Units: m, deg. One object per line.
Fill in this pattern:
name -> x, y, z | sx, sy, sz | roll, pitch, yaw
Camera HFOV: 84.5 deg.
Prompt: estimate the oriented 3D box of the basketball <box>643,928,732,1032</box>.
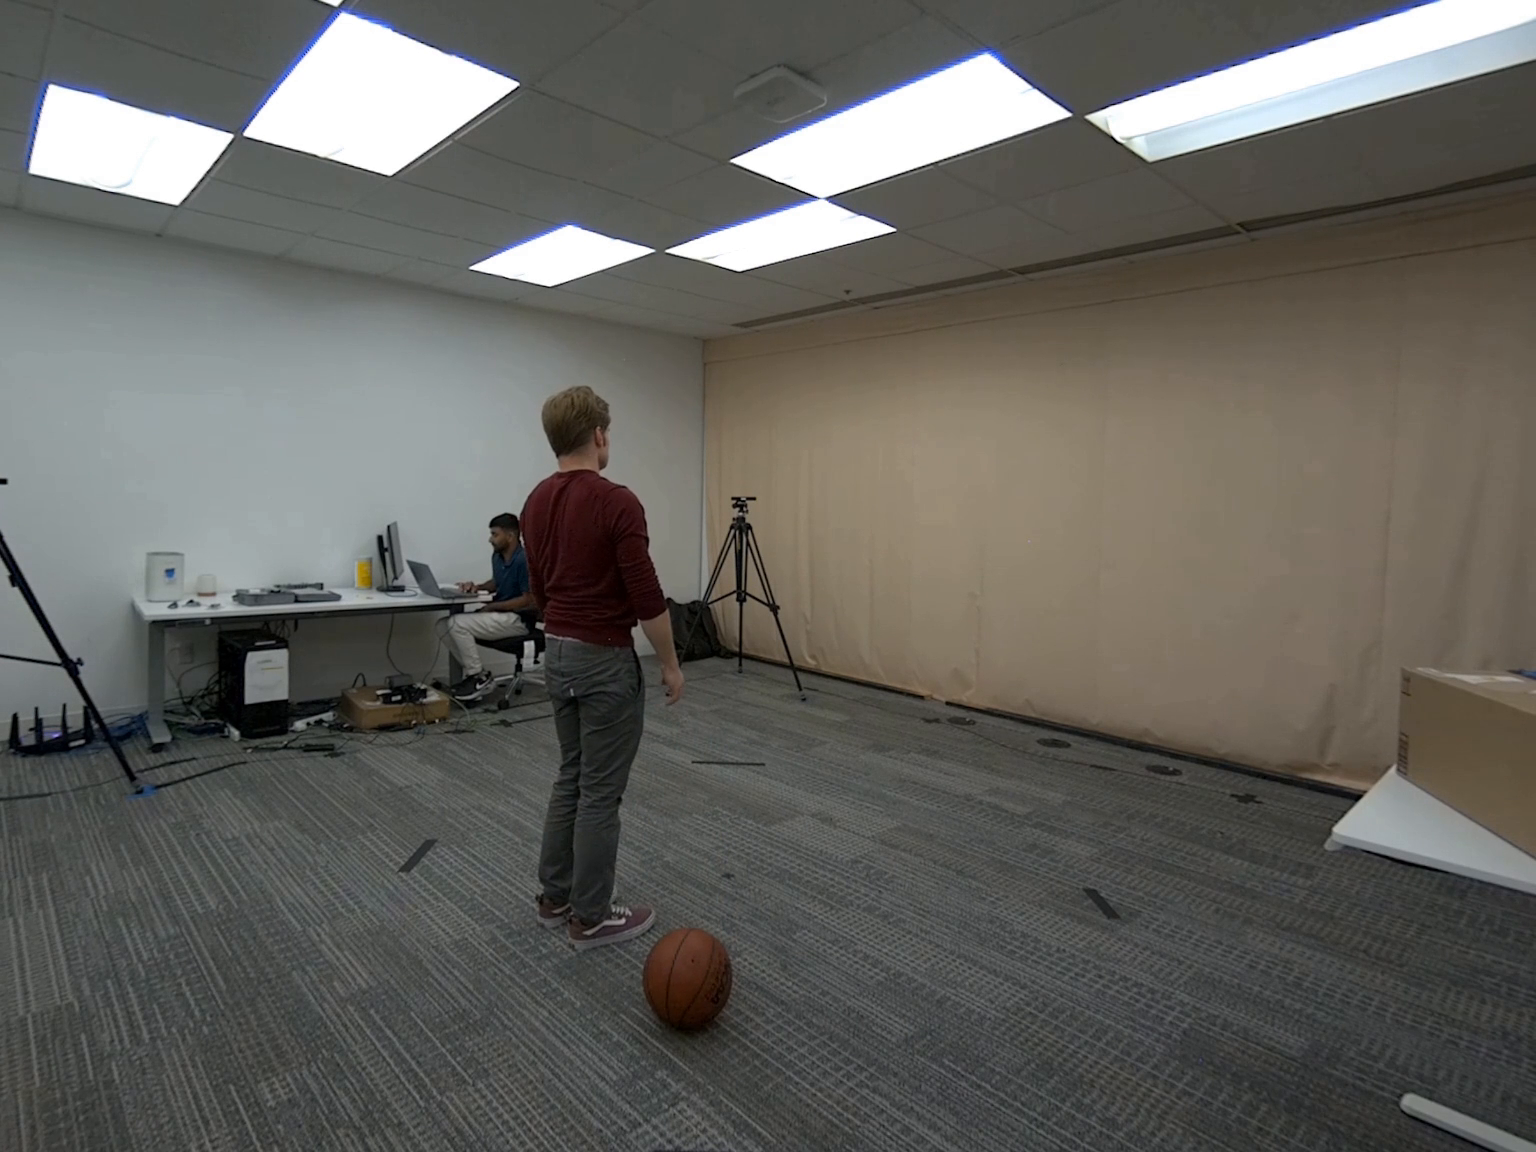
basketball -> -0.217, 1.068, 2.228 | 0.236, 0.235, 0.237 | 1, 4, -1
